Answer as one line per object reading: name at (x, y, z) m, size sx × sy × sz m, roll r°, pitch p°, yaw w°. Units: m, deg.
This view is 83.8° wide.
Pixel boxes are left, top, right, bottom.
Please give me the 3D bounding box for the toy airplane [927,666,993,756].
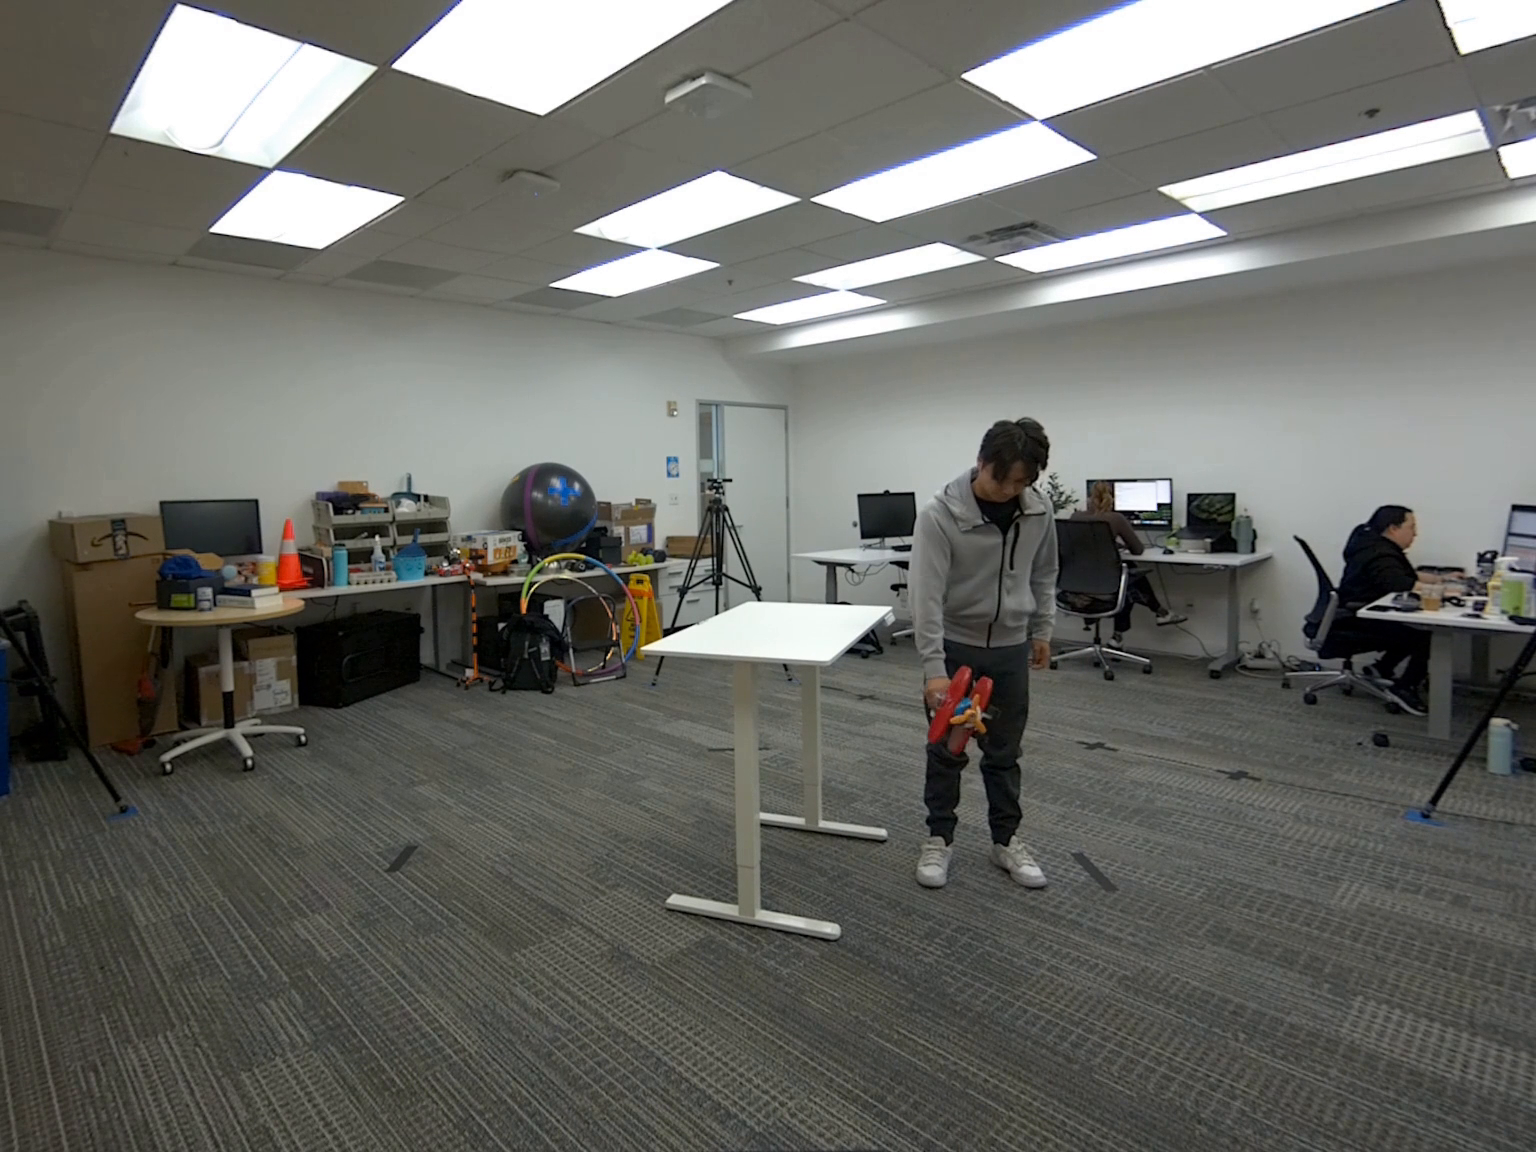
toy airplane at (0.585, 0.422, 2.658) m, size 0.152 × 0.255 × 0.262 m, roll 27°, pitch -29°, yaw -25°
